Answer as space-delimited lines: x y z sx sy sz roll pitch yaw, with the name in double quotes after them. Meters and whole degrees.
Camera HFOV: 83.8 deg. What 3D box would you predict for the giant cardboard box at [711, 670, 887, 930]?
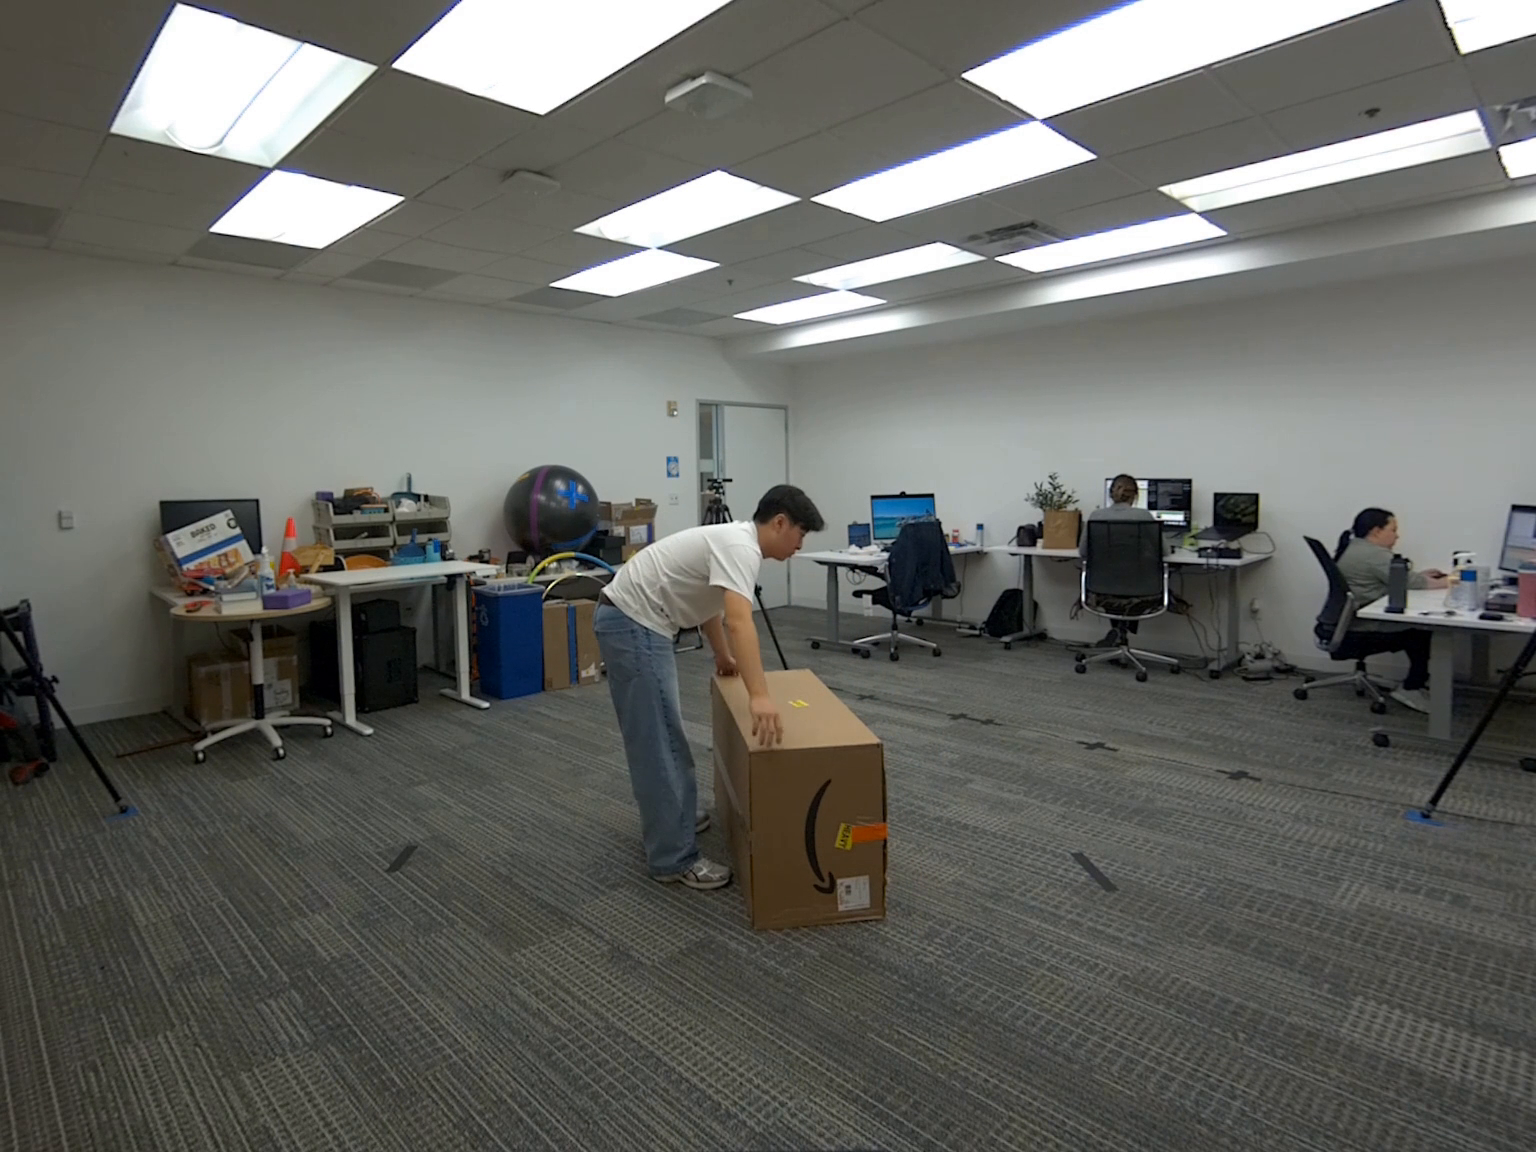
0.074 0.749 3.151 0.423 0.575 1.039 -3 6 -10 "giant cardboard box"
